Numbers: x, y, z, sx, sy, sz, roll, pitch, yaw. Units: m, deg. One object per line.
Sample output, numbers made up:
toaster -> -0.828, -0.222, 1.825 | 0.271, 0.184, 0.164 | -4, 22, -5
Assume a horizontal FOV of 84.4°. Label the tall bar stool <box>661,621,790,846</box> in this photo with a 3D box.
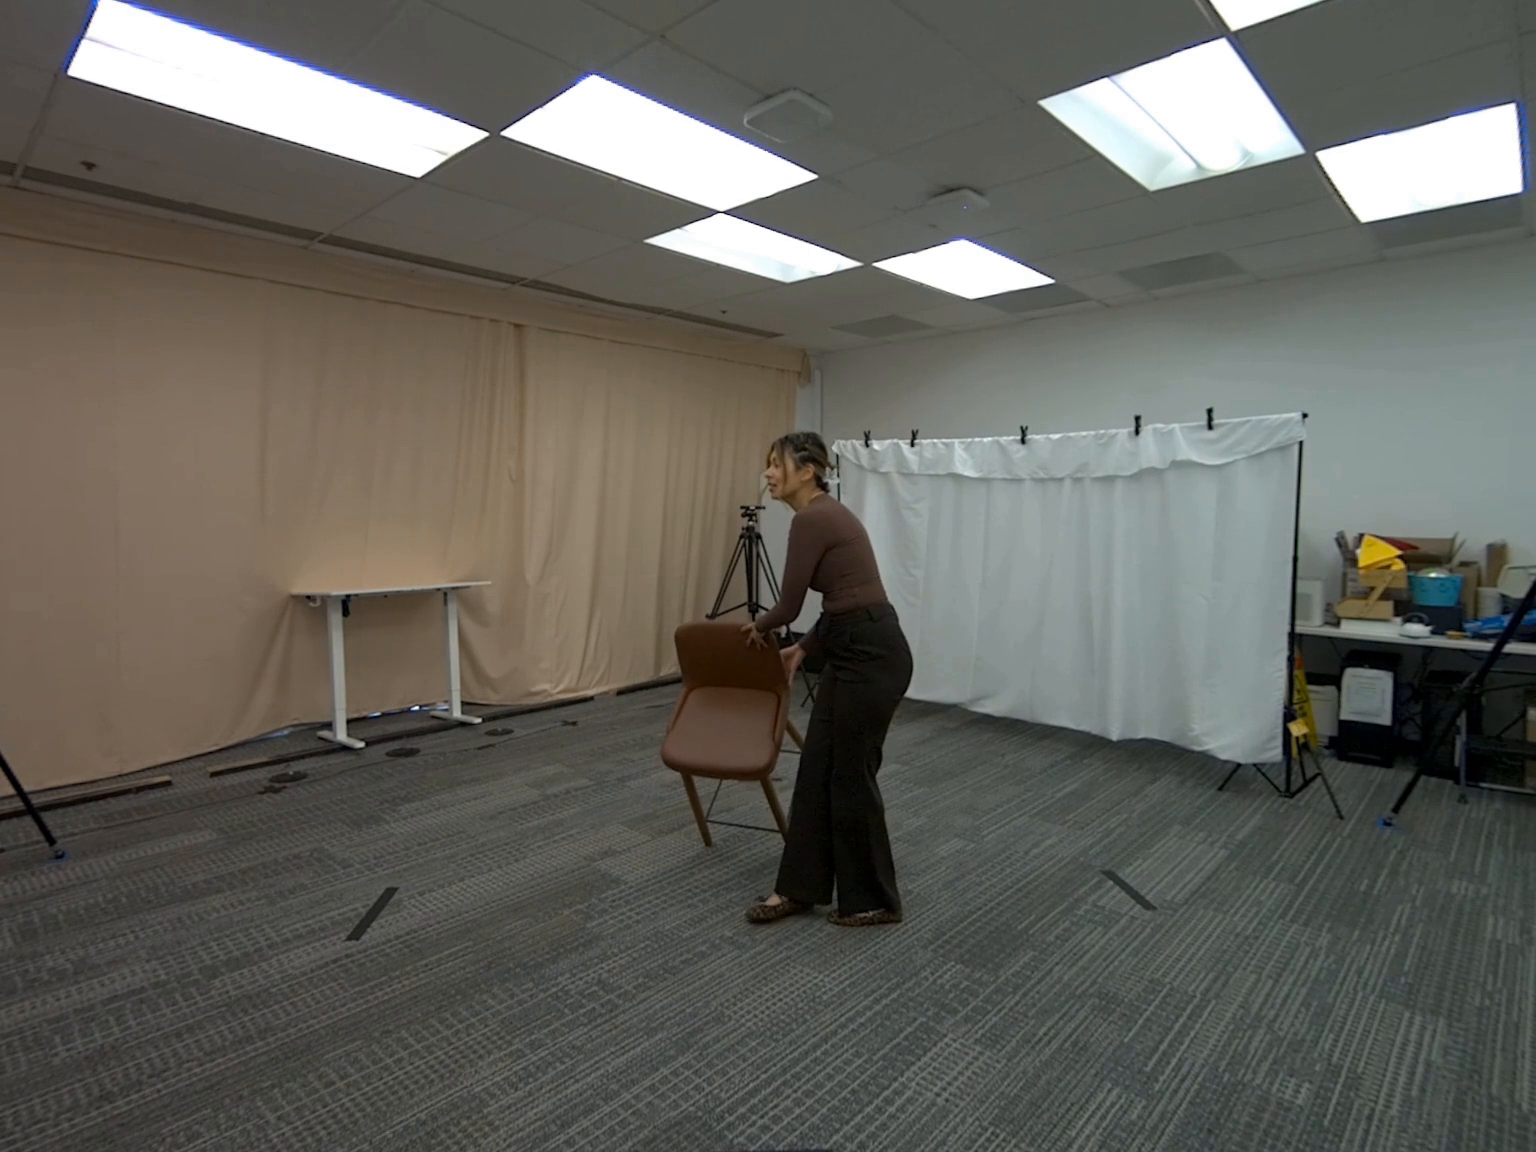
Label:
tall bar stool -> -0.118, 0.646, 3.247 | 0.467, 0.865, 0.469 | 2, 43, 23
